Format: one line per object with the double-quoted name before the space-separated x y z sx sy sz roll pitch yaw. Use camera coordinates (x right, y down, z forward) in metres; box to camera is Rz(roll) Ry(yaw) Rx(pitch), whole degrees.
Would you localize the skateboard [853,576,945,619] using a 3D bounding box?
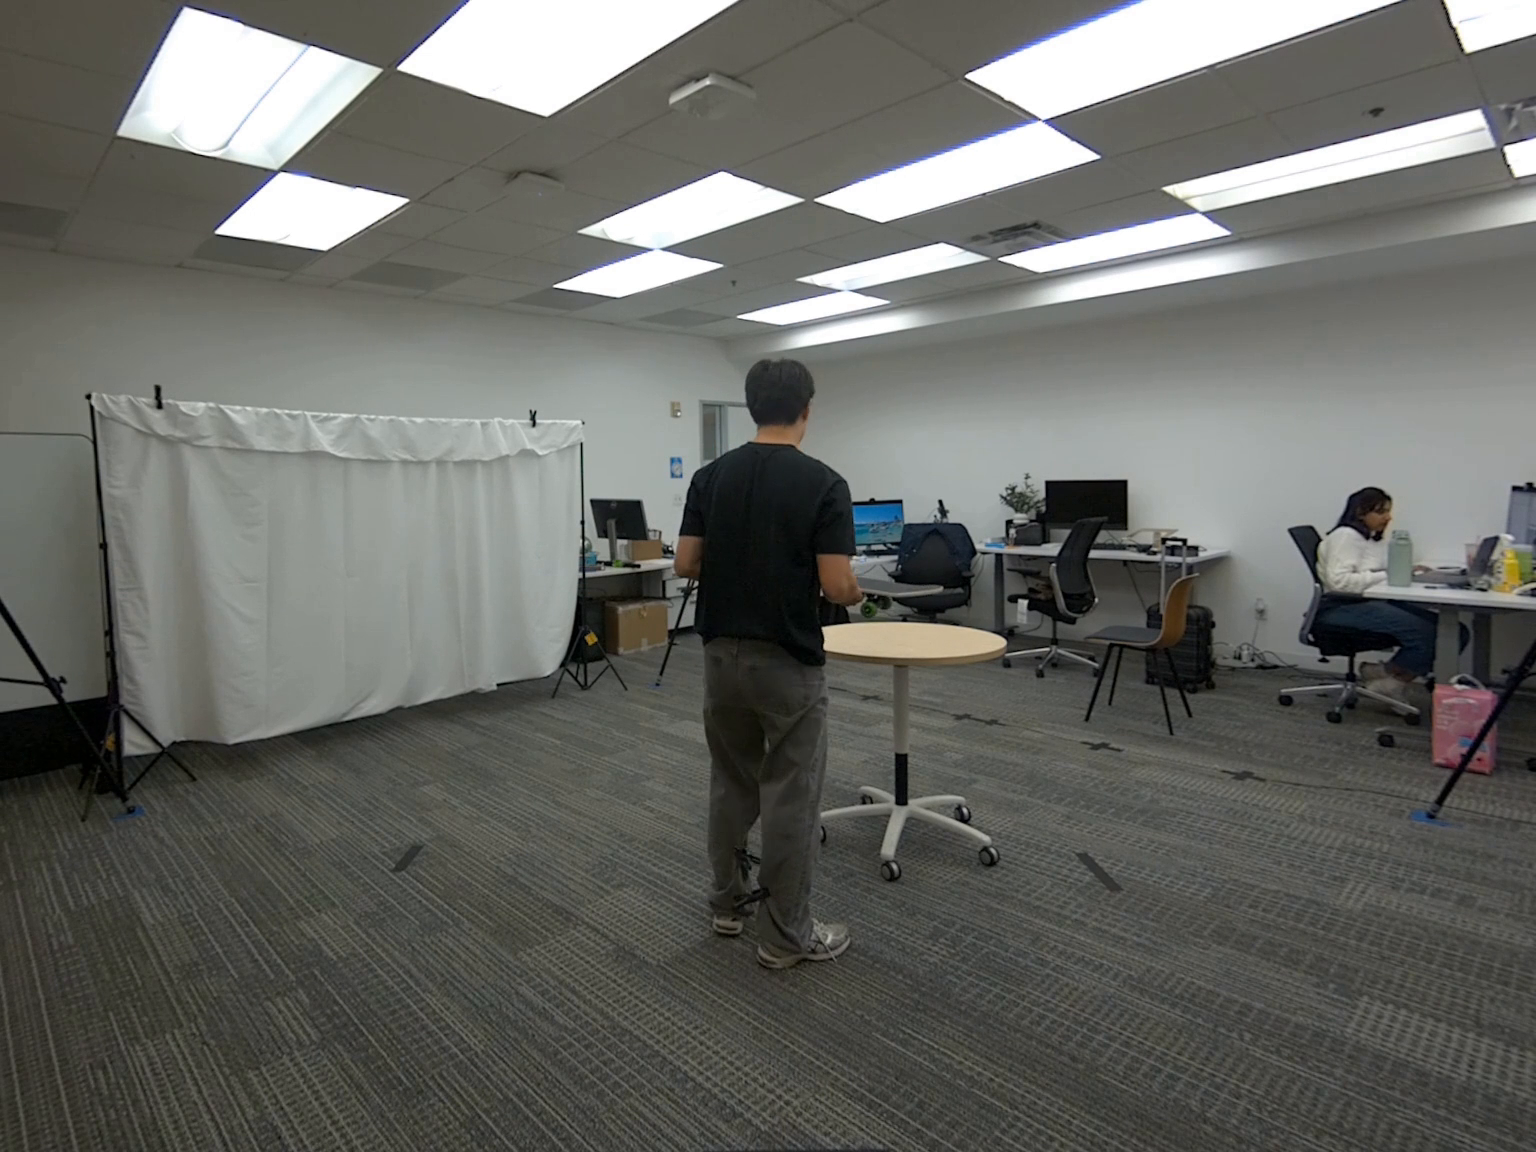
"skateboard" 0.167 0.041 2.766 0.809 0.109 0.189 8 11 32
